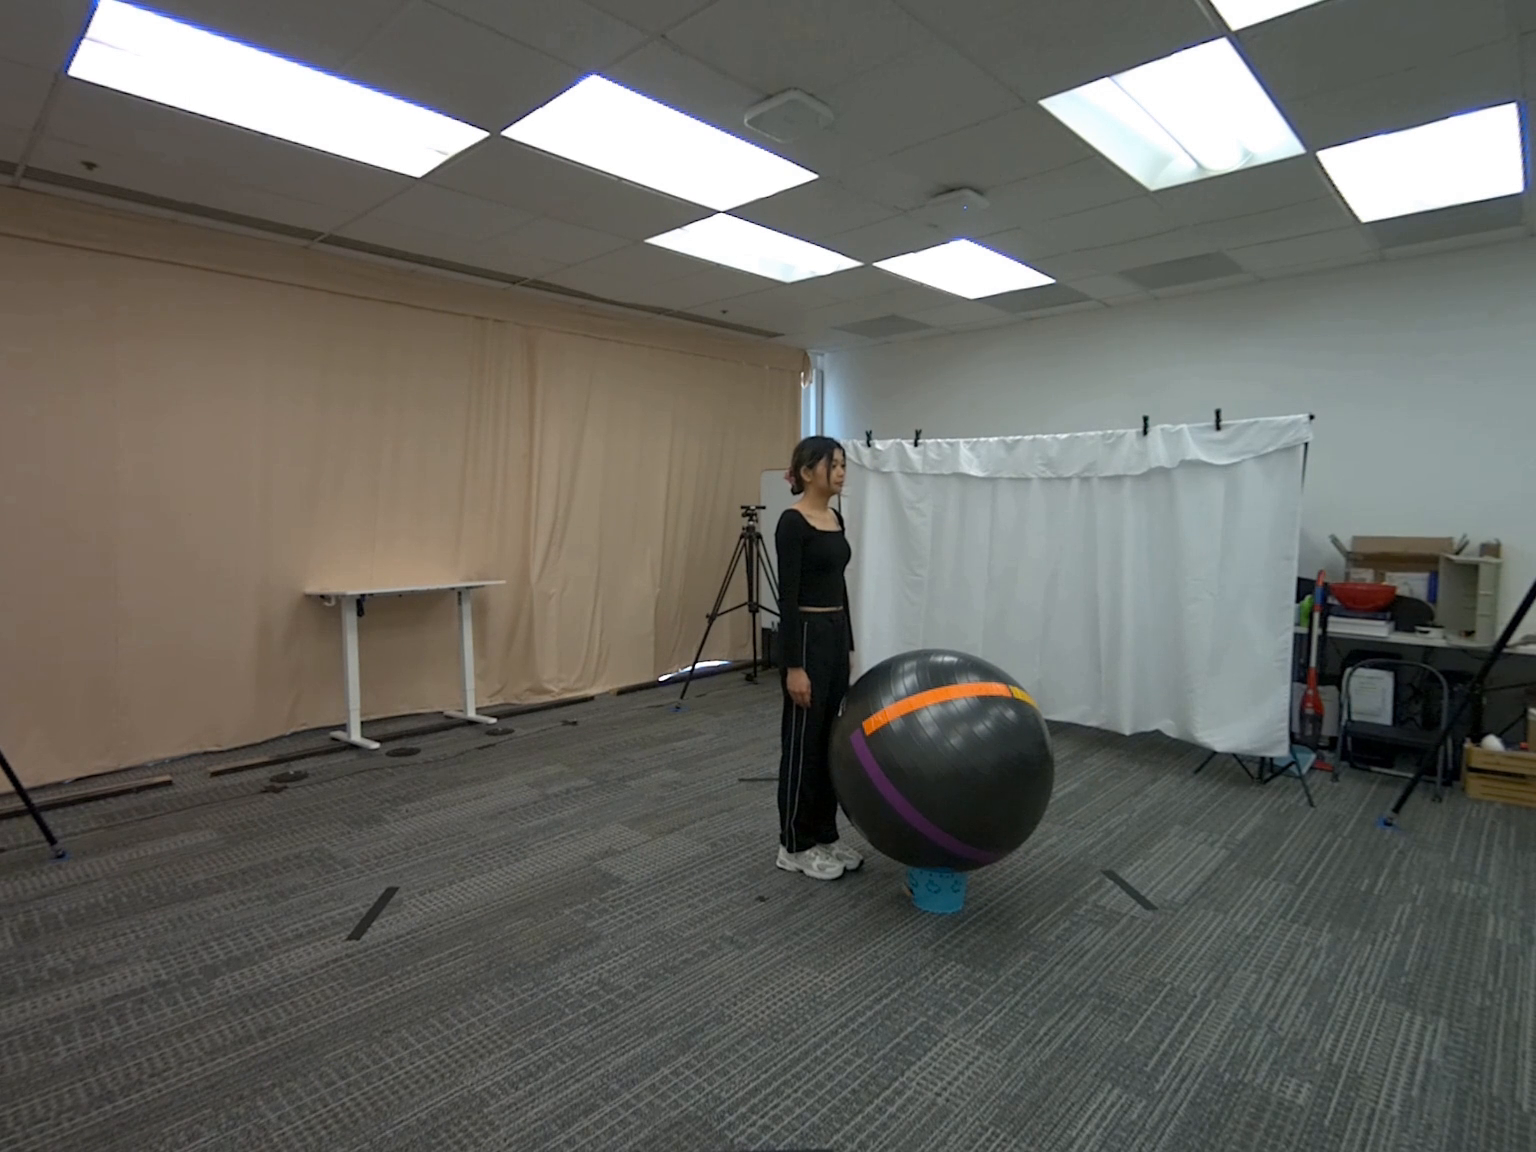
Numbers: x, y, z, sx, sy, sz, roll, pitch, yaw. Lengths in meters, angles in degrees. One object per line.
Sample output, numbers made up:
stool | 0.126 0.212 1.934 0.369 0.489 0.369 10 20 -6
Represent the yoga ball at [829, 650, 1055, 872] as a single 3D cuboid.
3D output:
yoga ball | 0.605 0.636 2.935 0.757 0.756 0.760 0 4 -2
